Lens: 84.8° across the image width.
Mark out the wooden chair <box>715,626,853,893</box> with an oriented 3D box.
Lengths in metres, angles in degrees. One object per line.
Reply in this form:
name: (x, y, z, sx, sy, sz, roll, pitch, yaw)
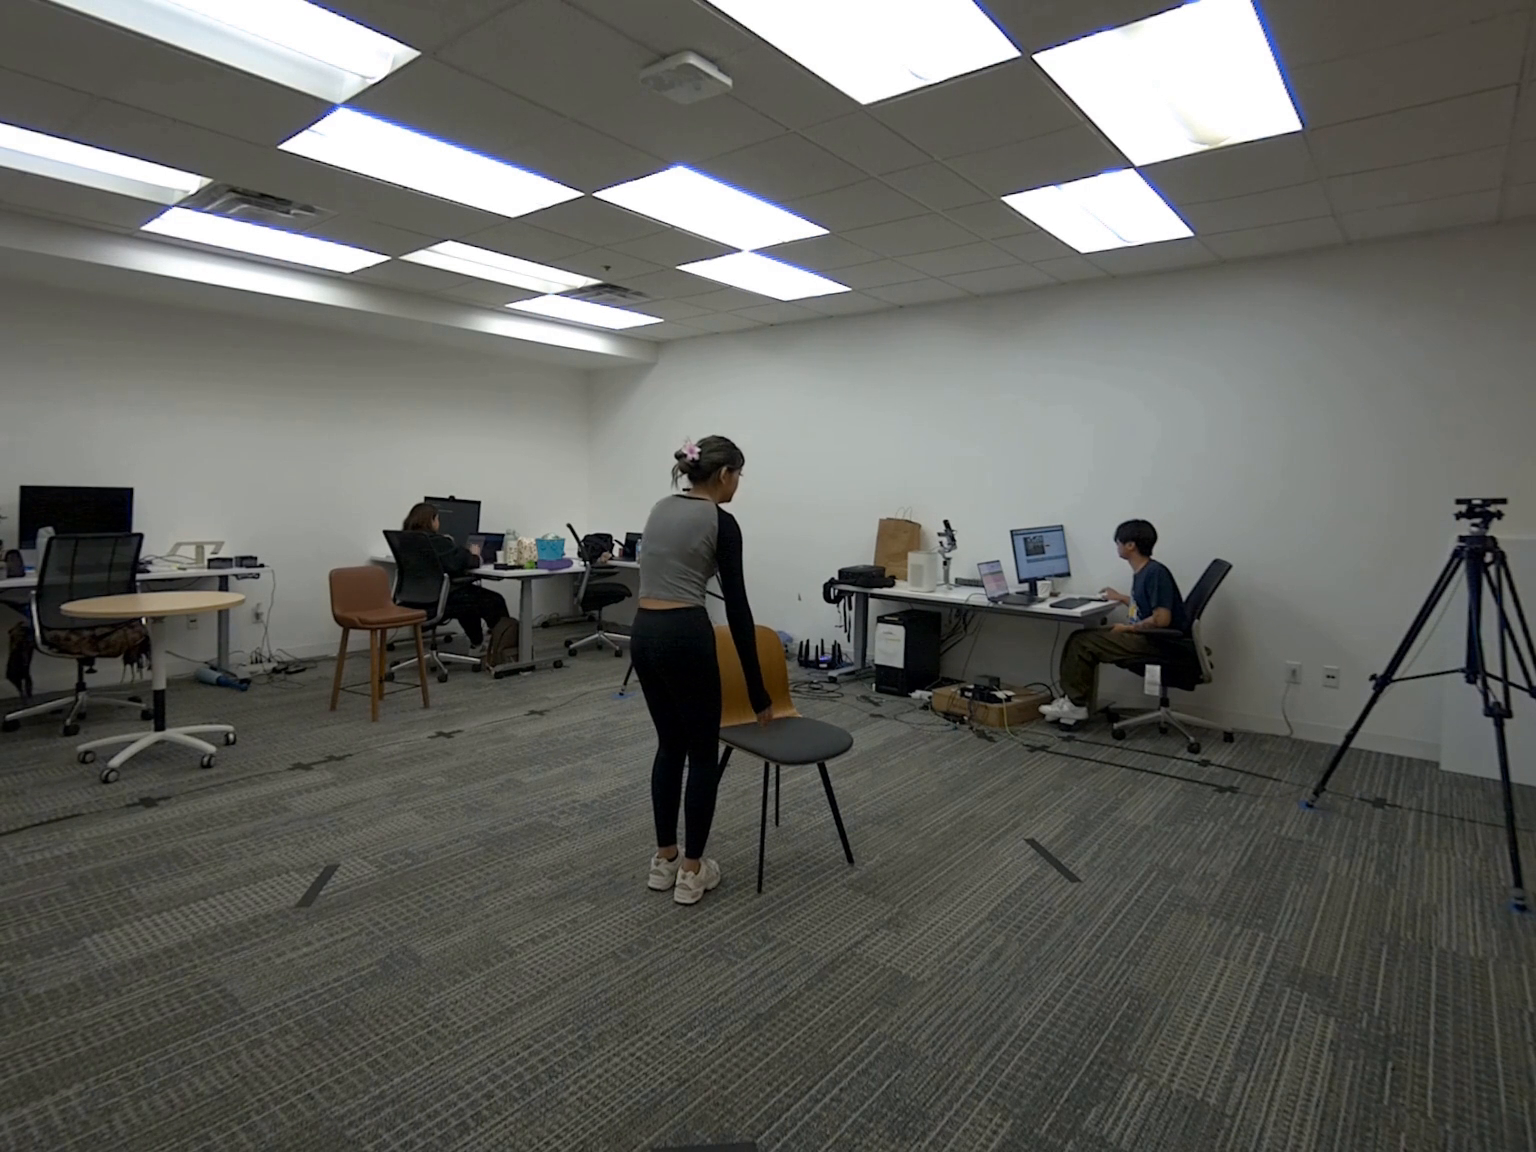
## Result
wooden chair: (0.017, 0.637, 3.203, 0.464, 0.878, 0.539, 0, 0, -38)
